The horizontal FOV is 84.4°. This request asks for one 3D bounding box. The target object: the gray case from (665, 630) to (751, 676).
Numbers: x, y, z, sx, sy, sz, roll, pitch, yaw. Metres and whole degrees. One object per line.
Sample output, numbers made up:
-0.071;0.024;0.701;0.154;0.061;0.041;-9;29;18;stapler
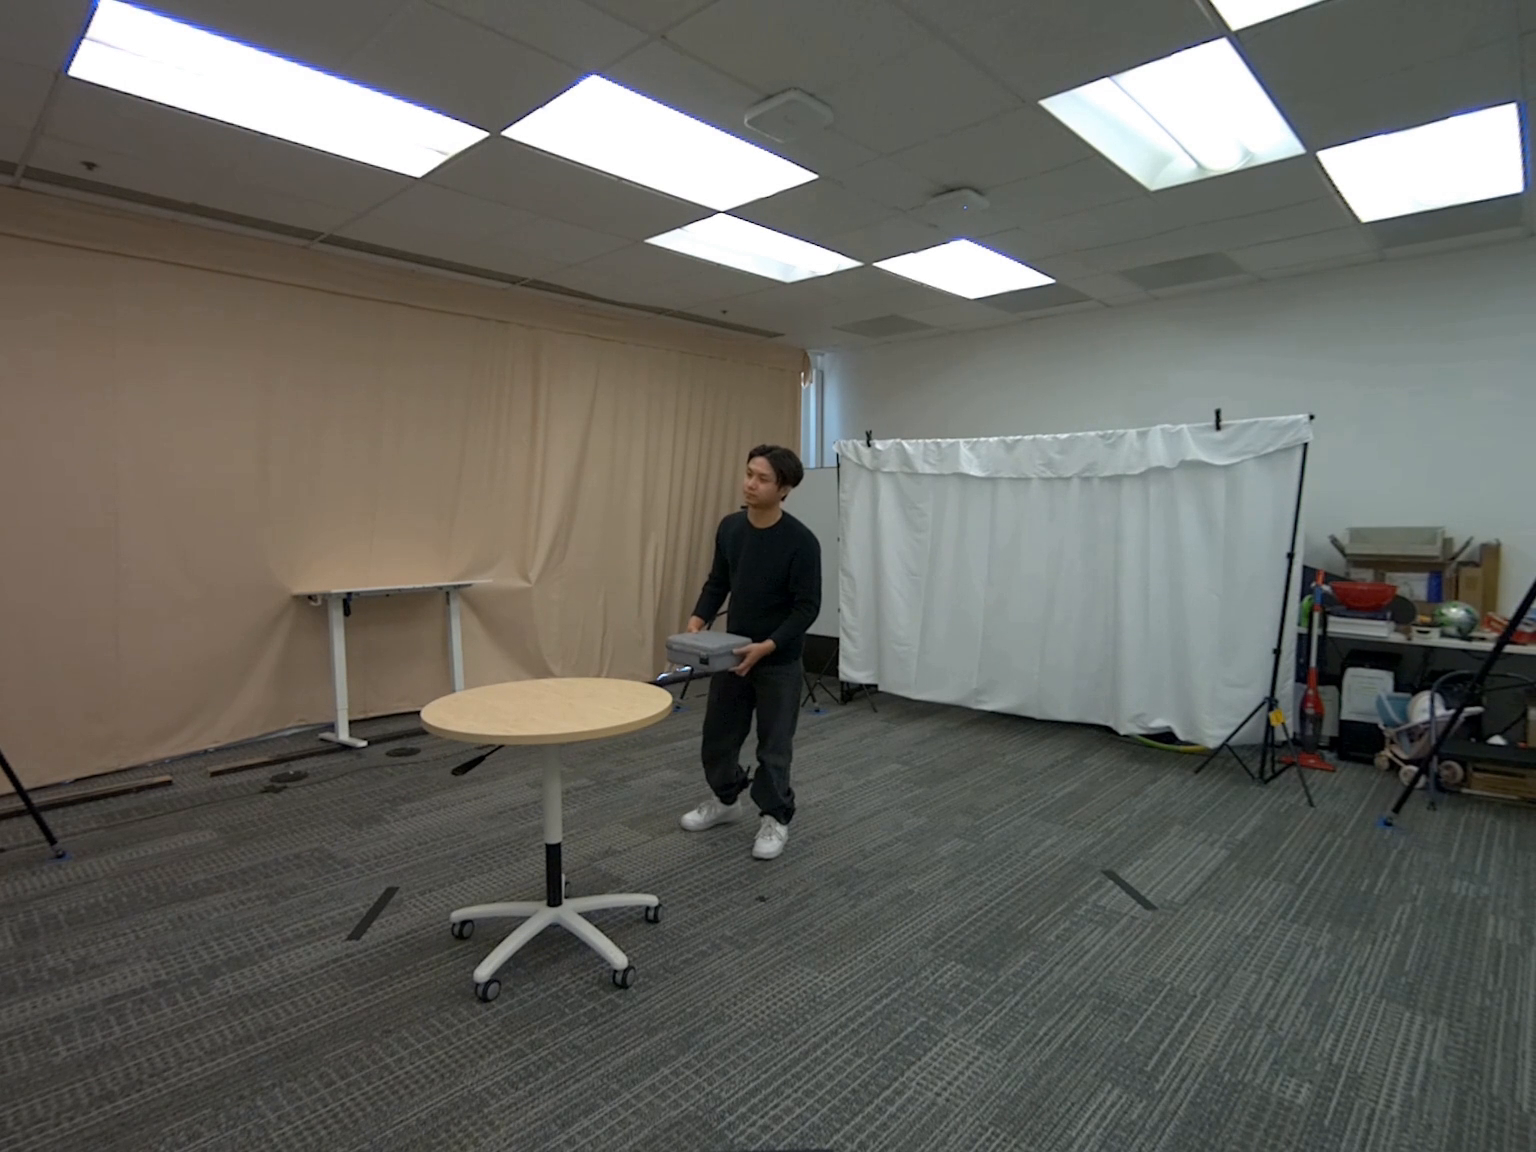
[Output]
-0.231;0.286;3.226;0.265;0.104;0.253;6;7;38;gray case
